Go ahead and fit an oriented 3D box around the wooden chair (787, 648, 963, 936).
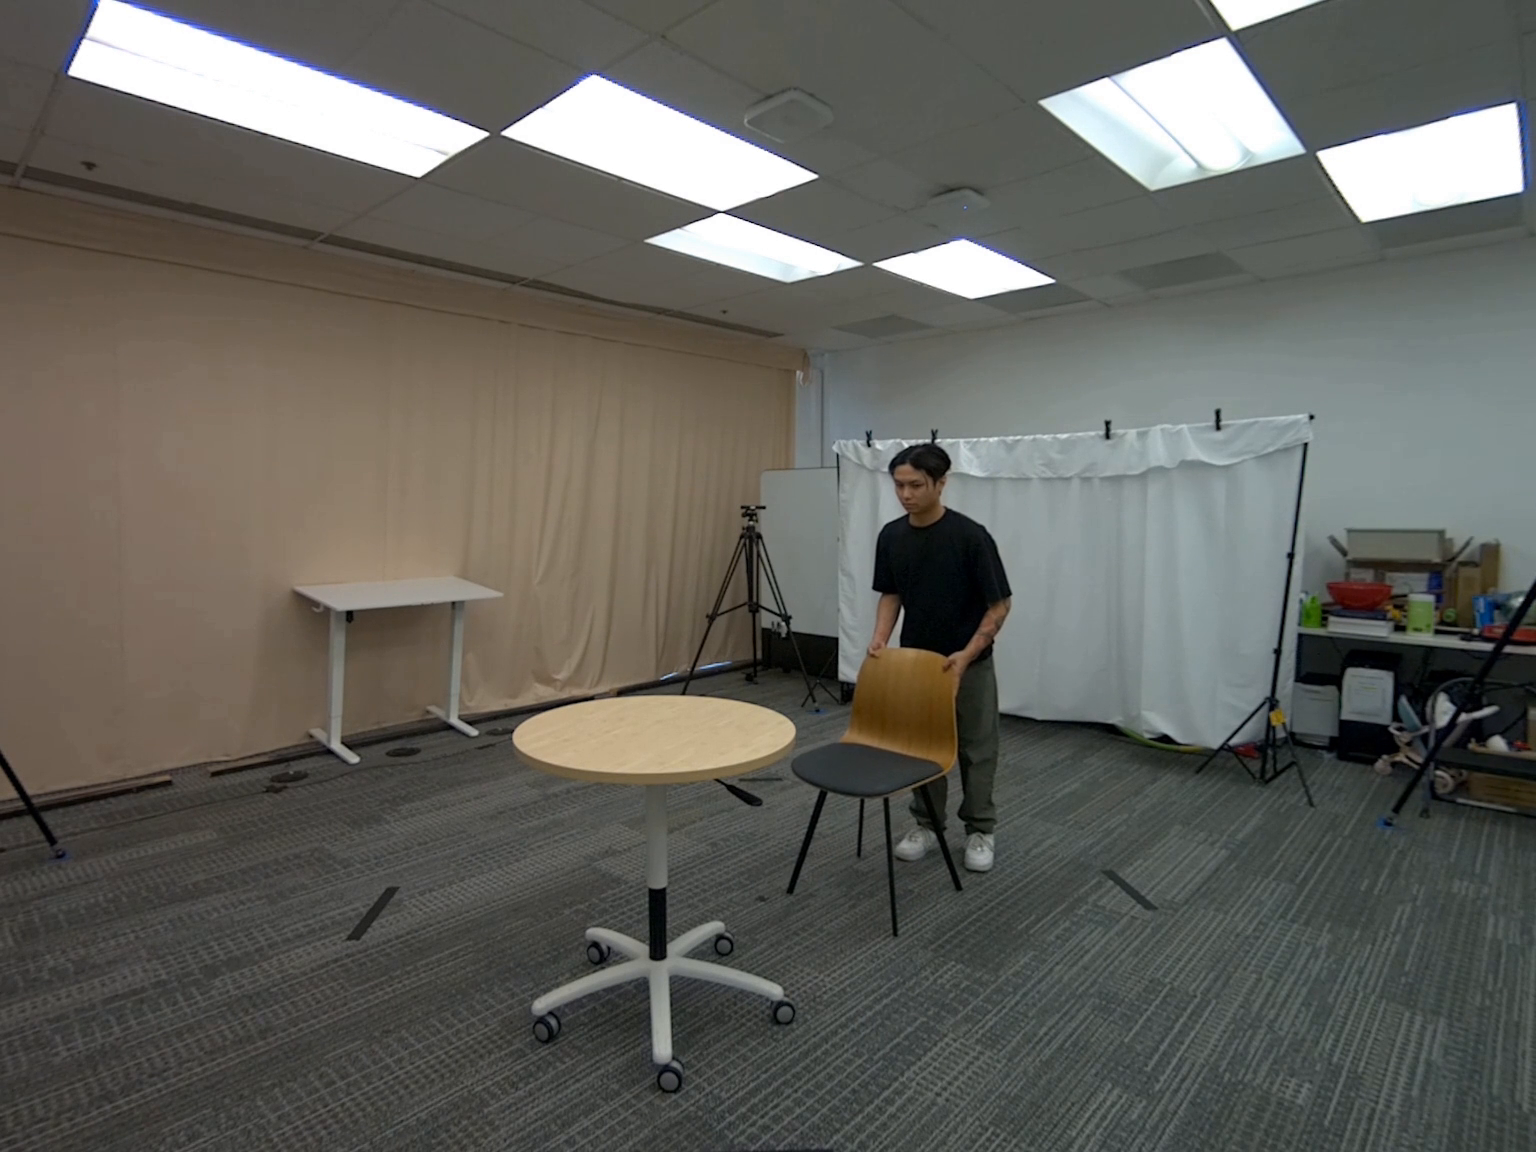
[{"bbox_3d":[0.382,0.712,2.993,0.494,0.877,0.506,3,0,42],"label":"wooden chair"}]
